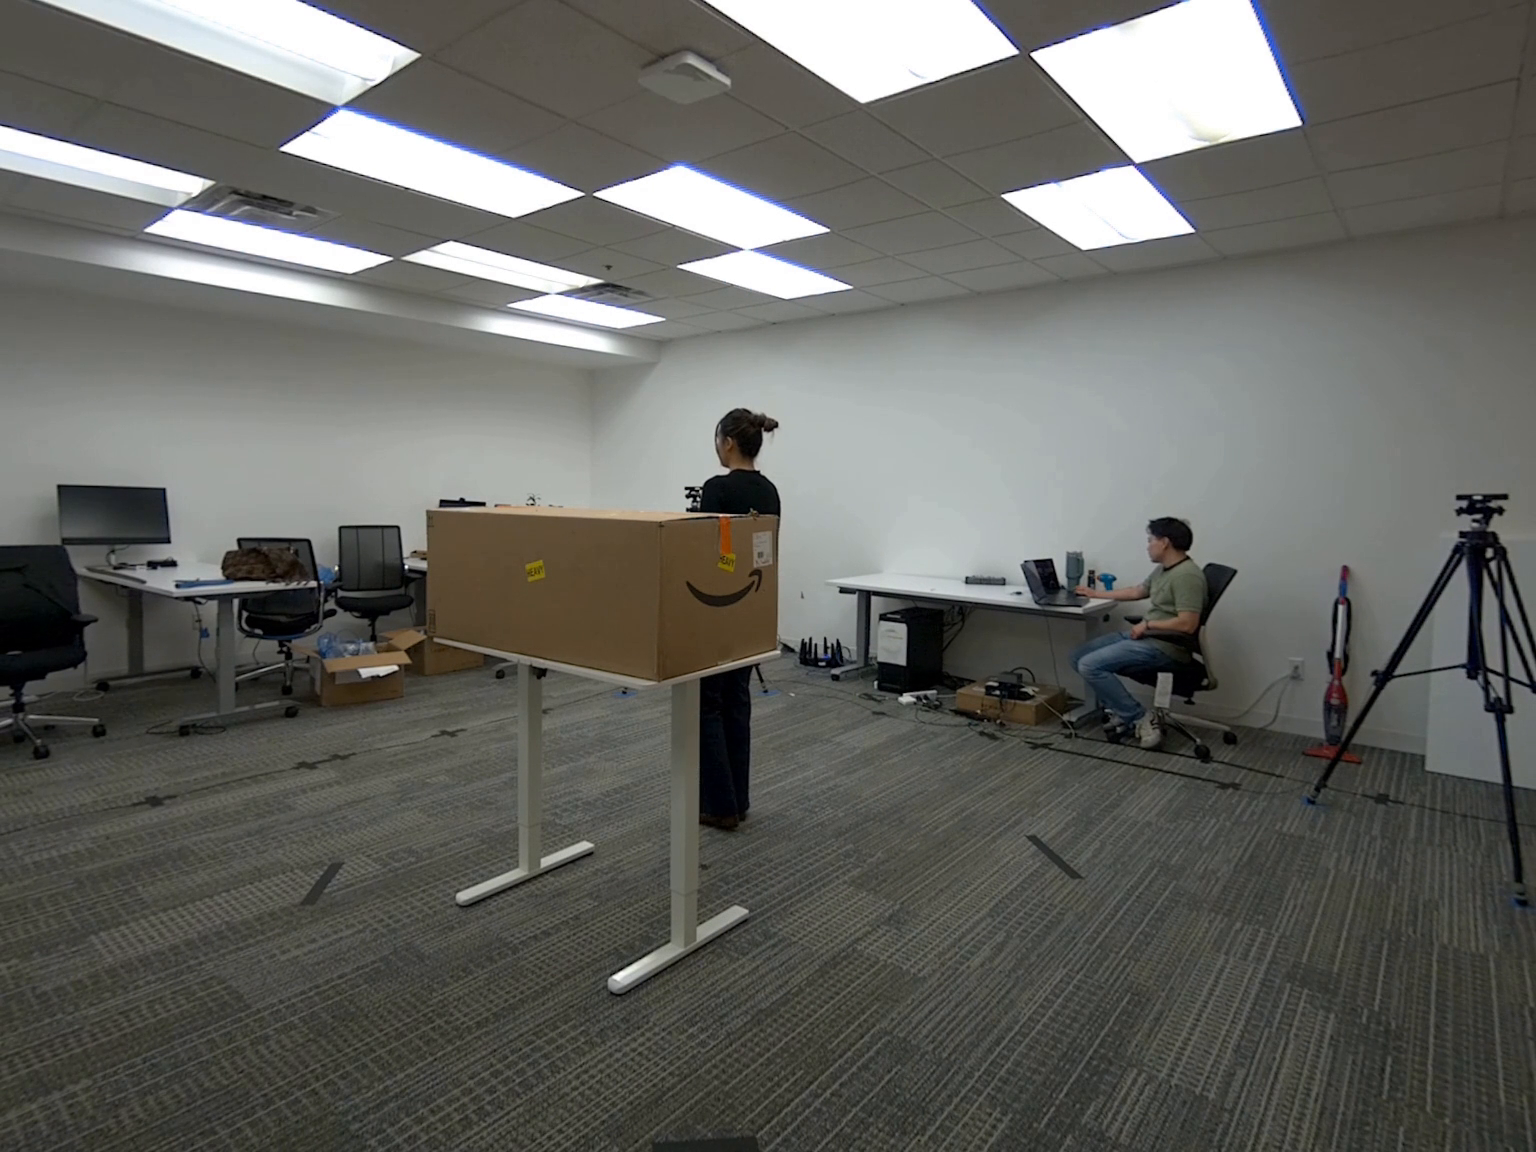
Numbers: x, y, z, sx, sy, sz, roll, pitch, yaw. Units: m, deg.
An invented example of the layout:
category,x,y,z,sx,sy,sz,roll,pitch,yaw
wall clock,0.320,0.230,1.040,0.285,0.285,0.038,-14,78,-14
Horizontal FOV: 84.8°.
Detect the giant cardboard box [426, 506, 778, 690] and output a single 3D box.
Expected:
category,x,y,z,sx,sy,sz,roll,pitch,yaw
giant cardboard box,-0.542,0.003,2.748,1.059,0.424,0.562,5,7,35
